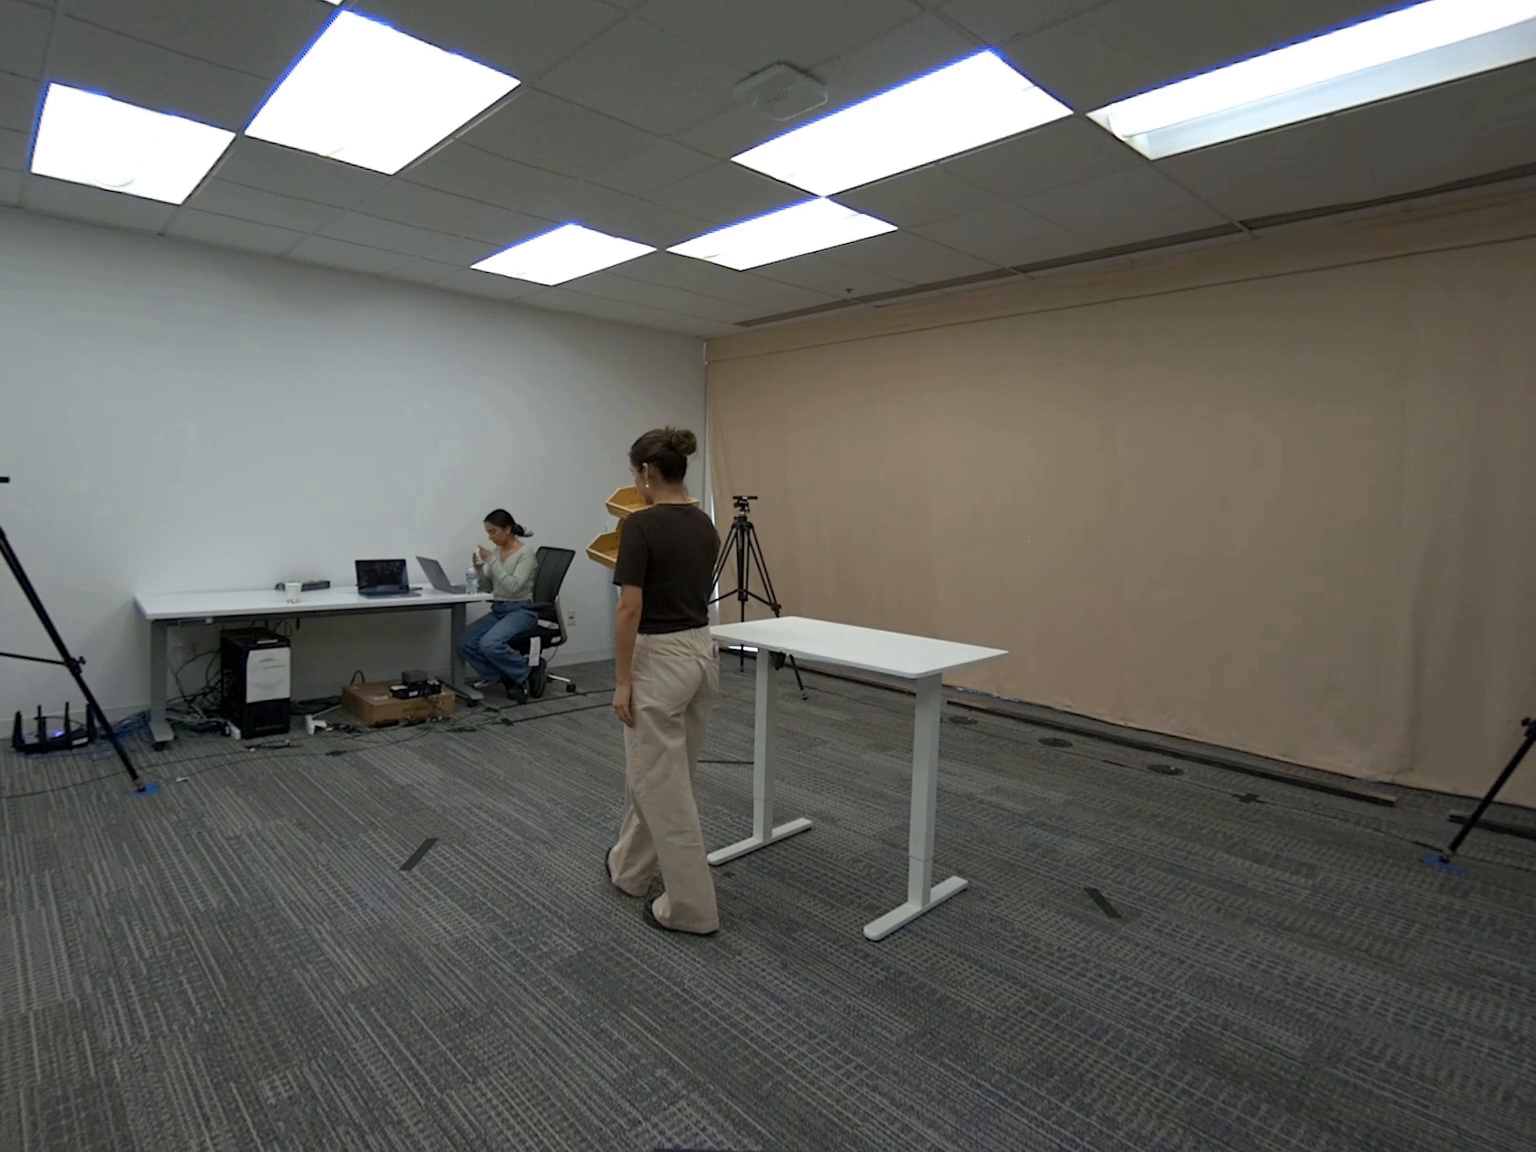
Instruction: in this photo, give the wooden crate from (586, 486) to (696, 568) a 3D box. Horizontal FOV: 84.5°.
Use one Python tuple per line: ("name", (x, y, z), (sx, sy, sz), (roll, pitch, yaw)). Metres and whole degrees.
("wooden crate", (-0.479, -0.174, 3.179), (0.334, 0.270, 0.297), (21, 25, 40))
